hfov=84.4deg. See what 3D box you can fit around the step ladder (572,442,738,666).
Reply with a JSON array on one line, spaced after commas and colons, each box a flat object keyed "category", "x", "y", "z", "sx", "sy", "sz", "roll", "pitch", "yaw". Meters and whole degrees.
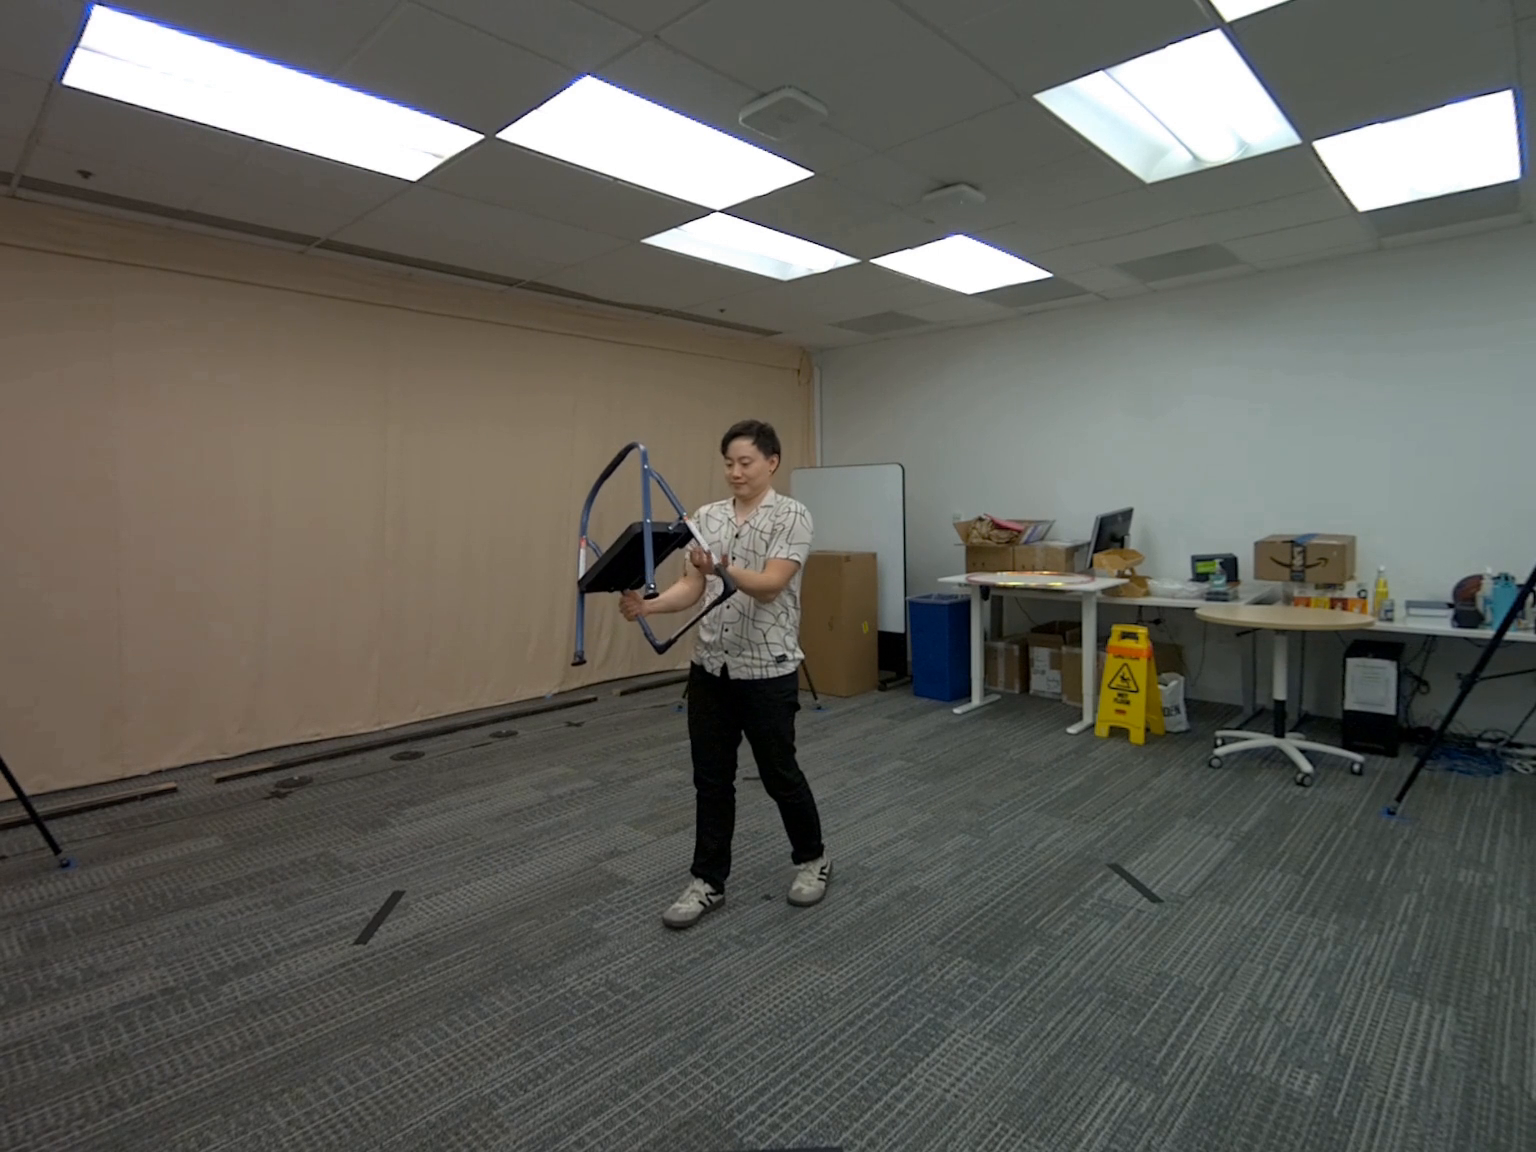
[{"category": "step ladder", "x": -0.437, "y": -0.097, "z": 2.581, "sx": 0.338, "sy": 0.619, "sz": 0.435, "roll": 1, "pitch": -33, "yaw": -46}]
